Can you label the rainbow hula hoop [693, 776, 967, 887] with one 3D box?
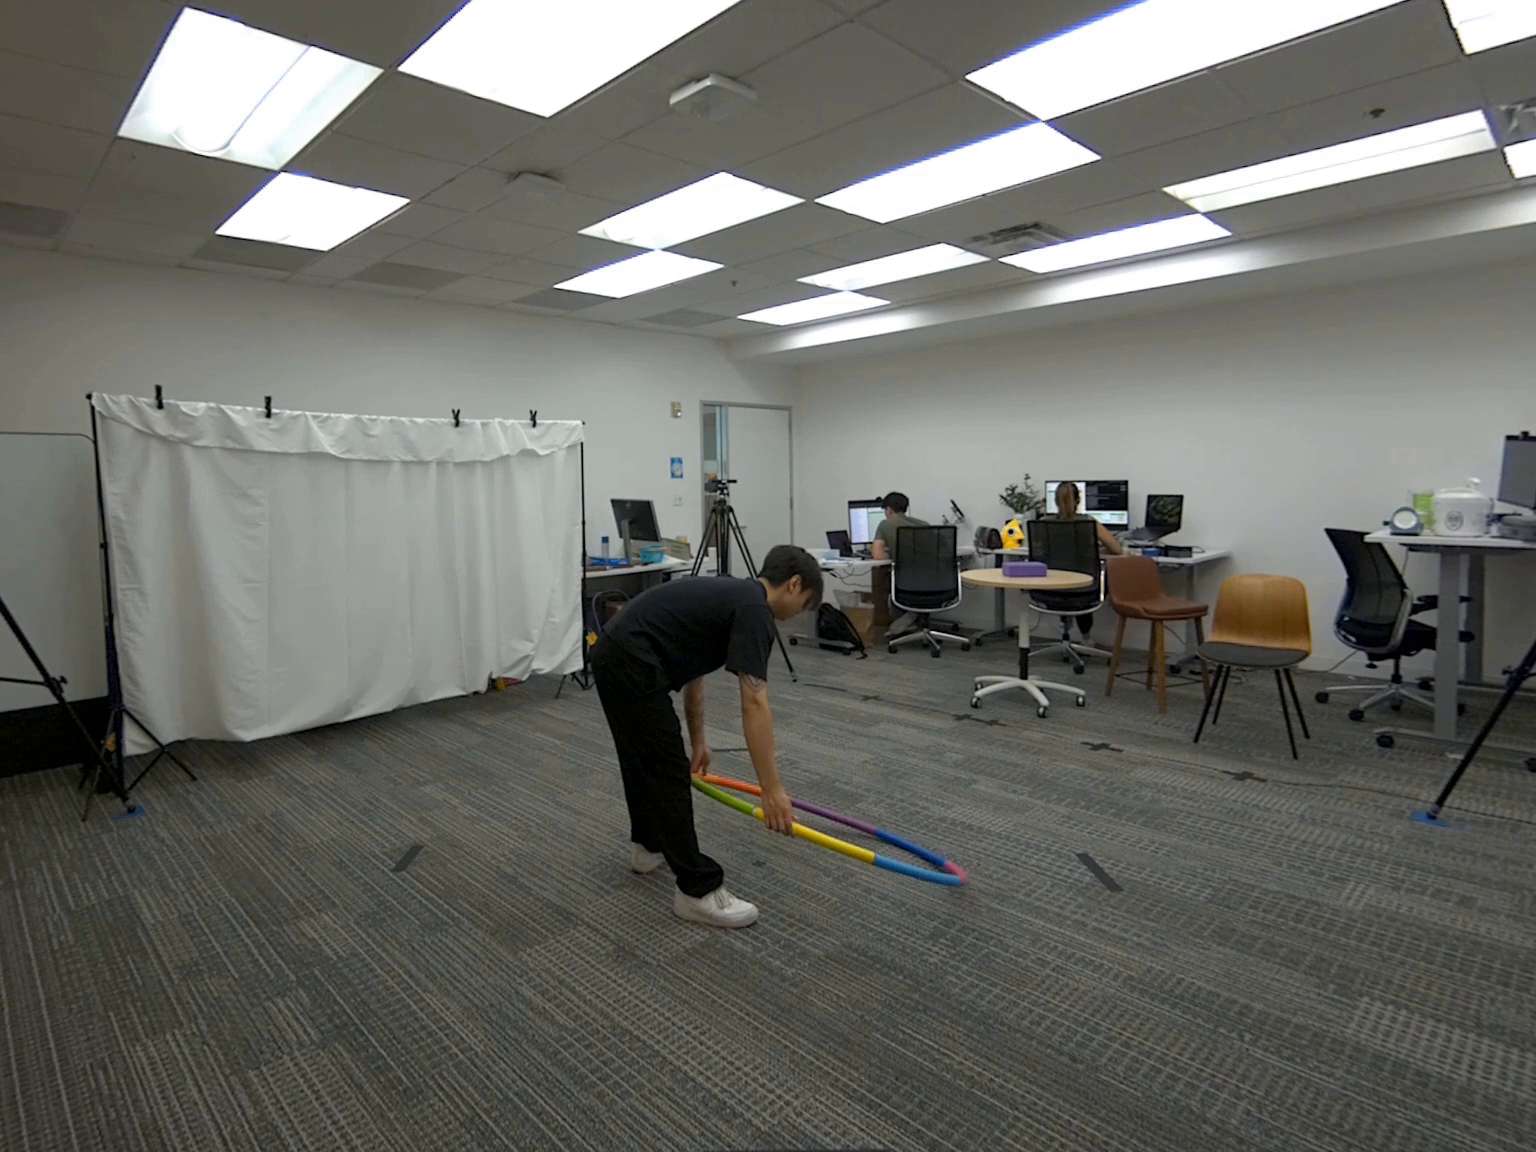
[{"bbox_3d":[0.204,0.853,2.951,0.982,0.036,0.971,18,-9,1],"label":"rainbow hula hoop"}]
